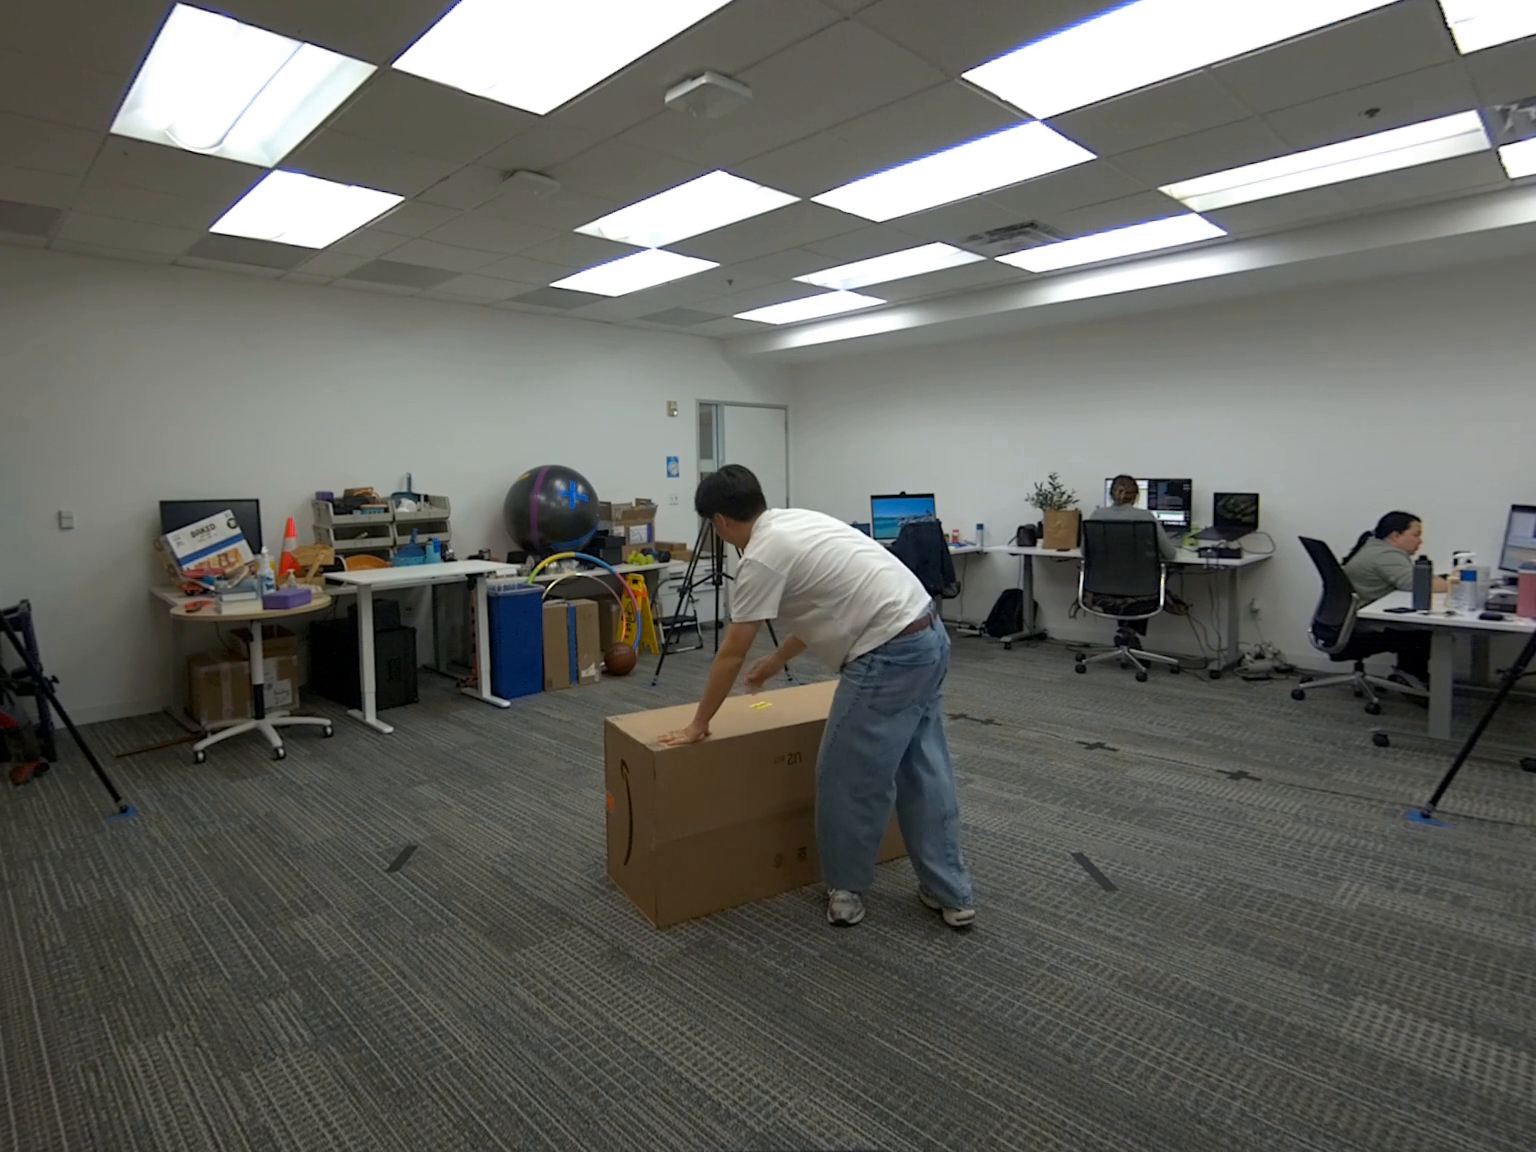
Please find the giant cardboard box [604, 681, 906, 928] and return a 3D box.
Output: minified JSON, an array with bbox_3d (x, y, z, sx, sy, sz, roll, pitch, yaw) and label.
[{"bbox_3d":[-0.028,0.761,3.068,1.002,0.575,0.438,-4,7,-29],"label":"giant cardboard box"}]
